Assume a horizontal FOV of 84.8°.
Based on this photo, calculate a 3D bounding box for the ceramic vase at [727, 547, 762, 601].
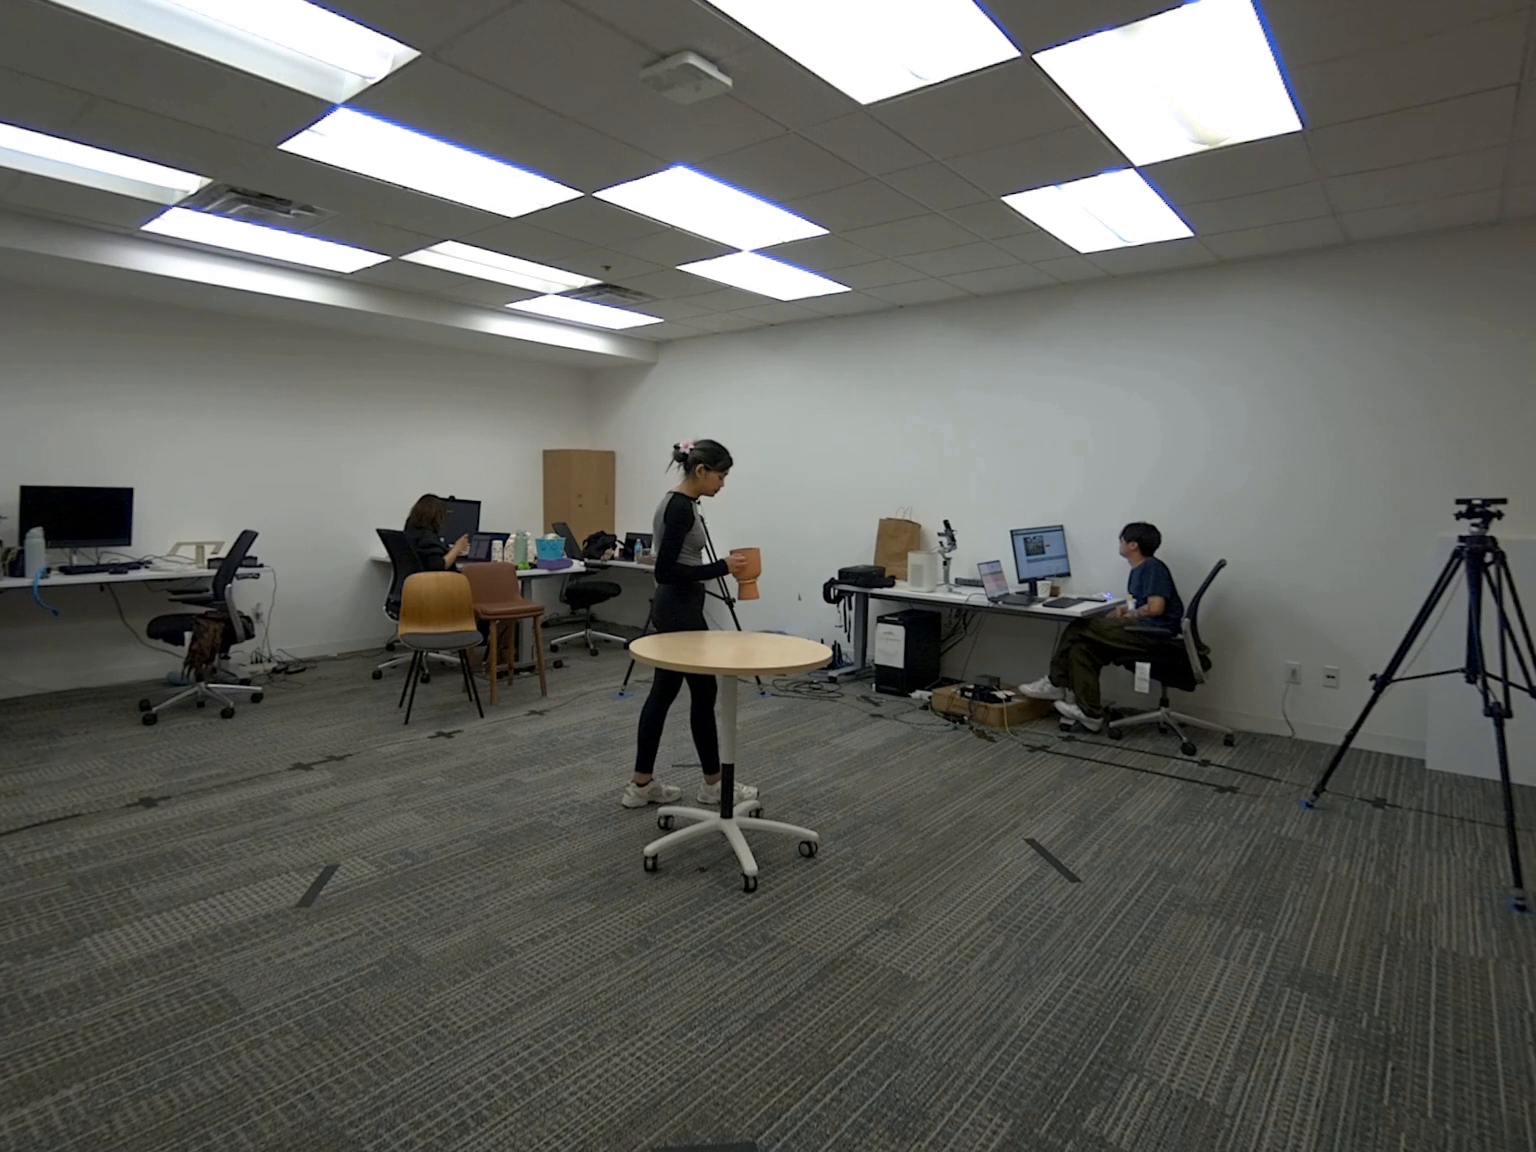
[{"bbox_3d":[-0.107,-0.010,3.719,0.155,0.219,0.138,-5,2,-33],"label":"ceramic vase"}]
